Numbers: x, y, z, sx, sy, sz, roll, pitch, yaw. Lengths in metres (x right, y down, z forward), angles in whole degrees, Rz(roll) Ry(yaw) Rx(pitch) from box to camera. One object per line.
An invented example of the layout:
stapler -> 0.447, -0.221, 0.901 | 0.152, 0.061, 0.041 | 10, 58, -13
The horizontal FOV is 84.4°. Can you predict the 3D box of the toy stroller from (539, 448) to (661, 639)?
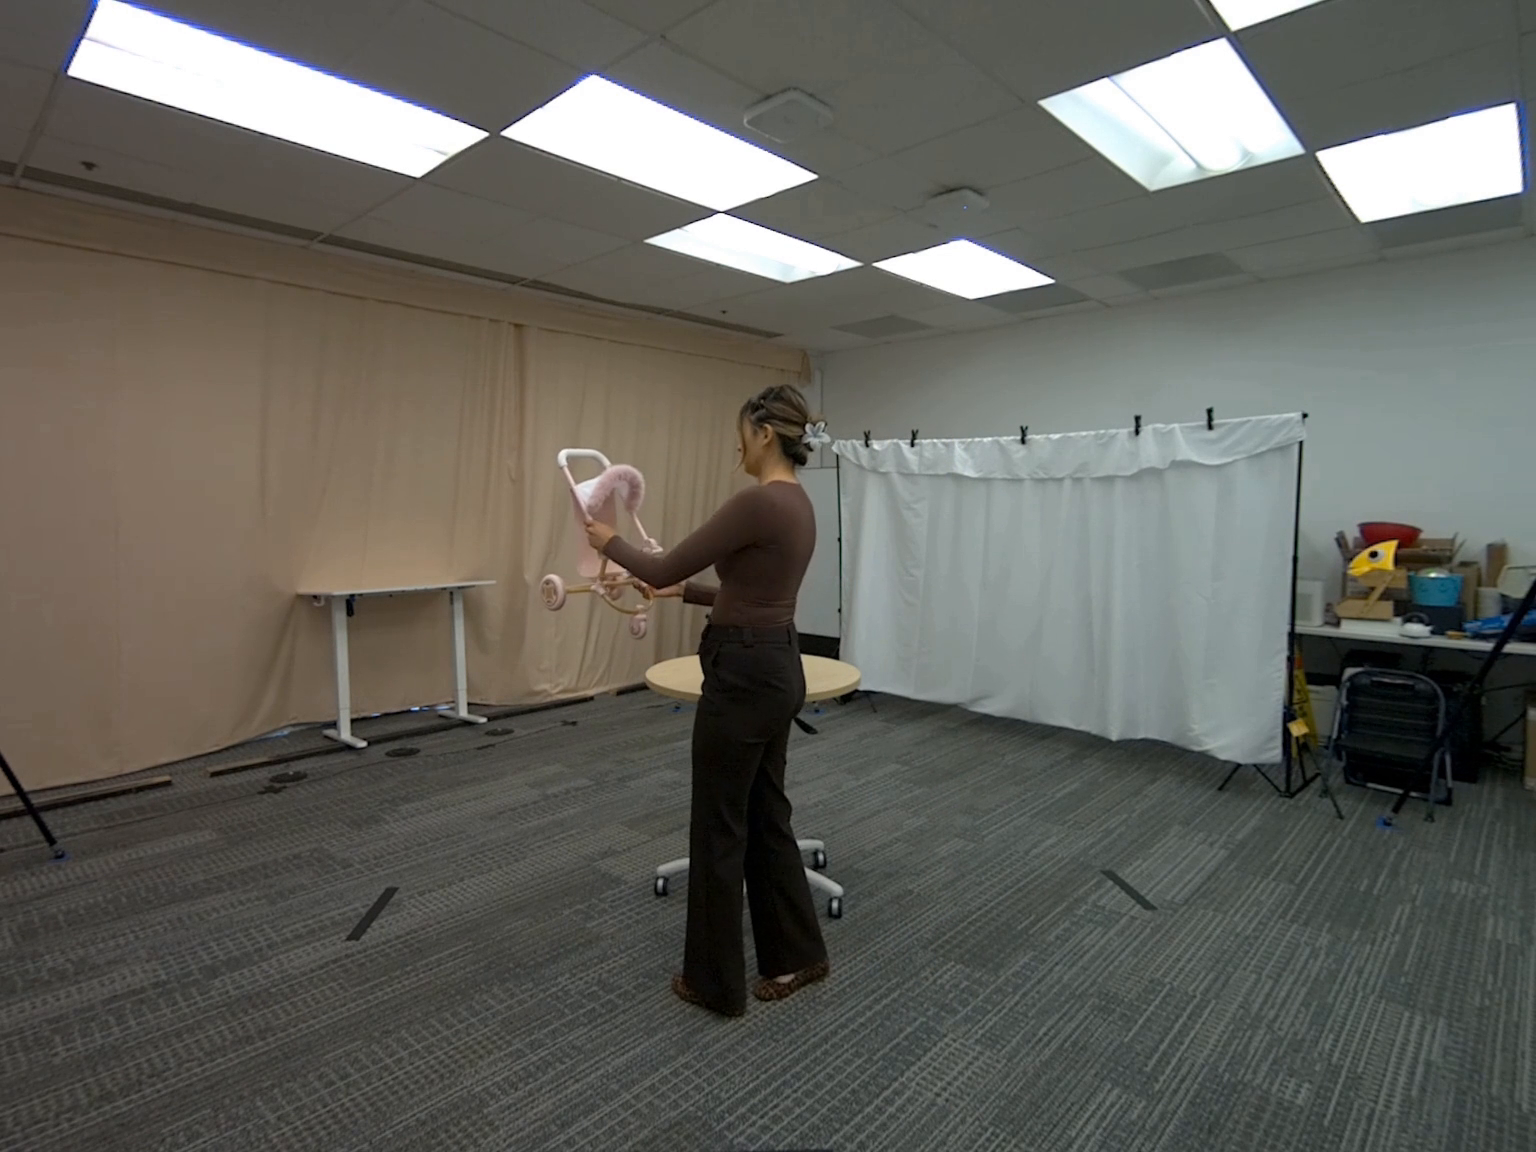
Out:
toy stroller -> -0.469, -0.096, 2.521 | 0.353, 0.533, 0.273 | 11, 10, 38
